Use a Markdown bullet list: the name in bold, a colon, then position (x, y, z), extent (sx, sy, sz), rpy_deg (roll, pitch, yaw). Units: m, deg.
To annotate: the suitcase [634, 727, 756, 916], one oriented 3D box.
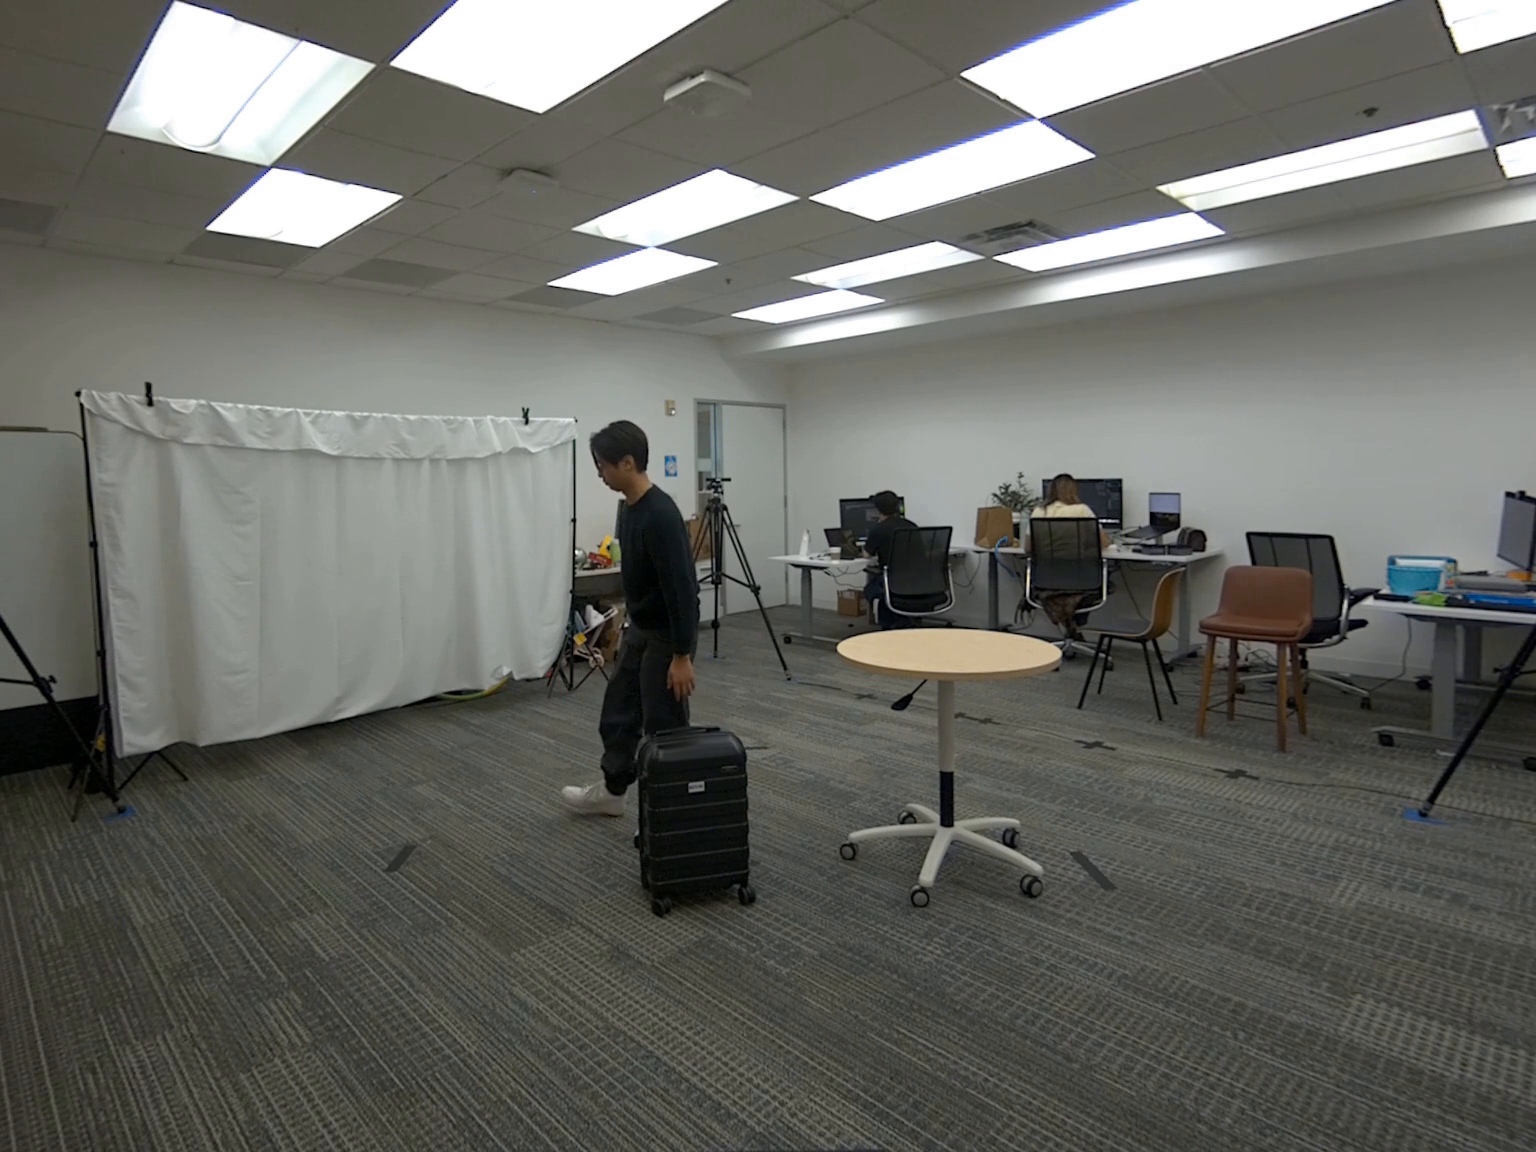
- **suitcase**: position (-0.247, 0.793, 2.879), extent (0.370, 0.548, 0.252), rpy_deg (-2, 4, -14)
